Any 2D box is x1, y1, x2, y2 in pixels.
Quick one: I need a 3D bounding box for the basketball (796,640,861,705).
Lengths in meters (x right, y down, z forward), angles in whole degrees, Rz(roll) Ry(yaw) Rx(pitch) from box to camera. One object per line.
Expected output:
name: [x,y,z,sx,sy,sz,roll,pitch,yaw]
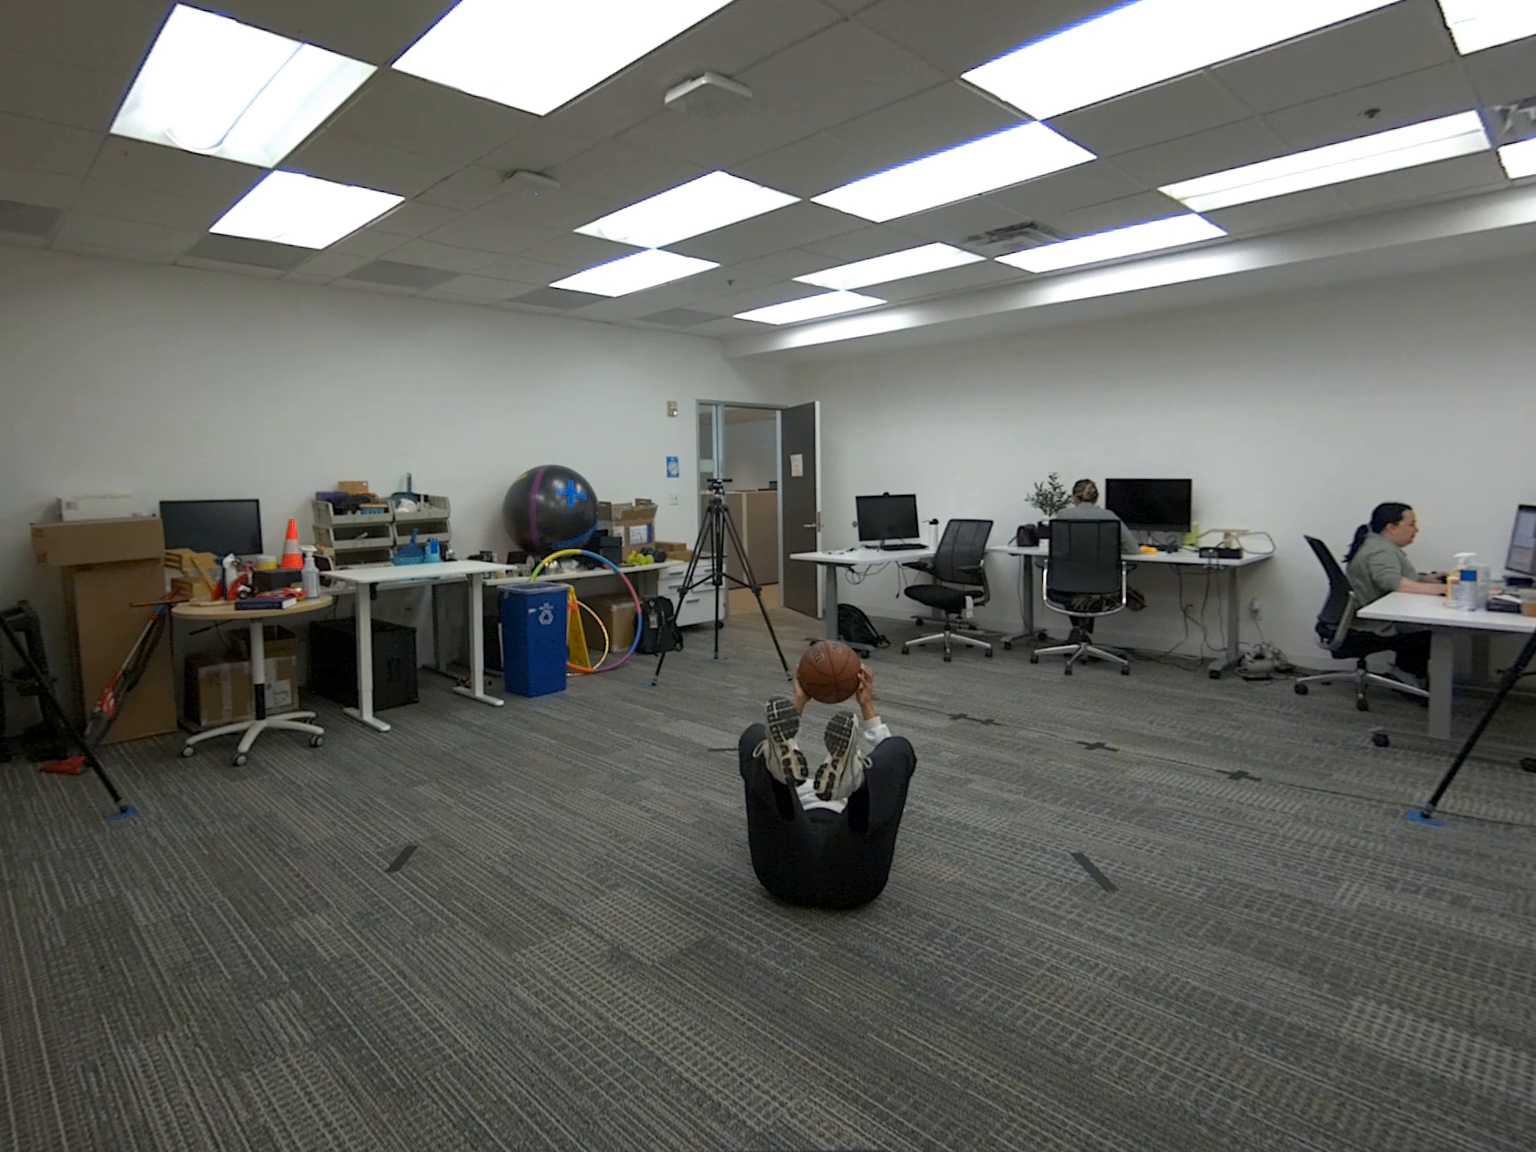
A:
basketball: [0.244,0.368,3.237,0.236,0.235,0.236,-4,2,-2]
